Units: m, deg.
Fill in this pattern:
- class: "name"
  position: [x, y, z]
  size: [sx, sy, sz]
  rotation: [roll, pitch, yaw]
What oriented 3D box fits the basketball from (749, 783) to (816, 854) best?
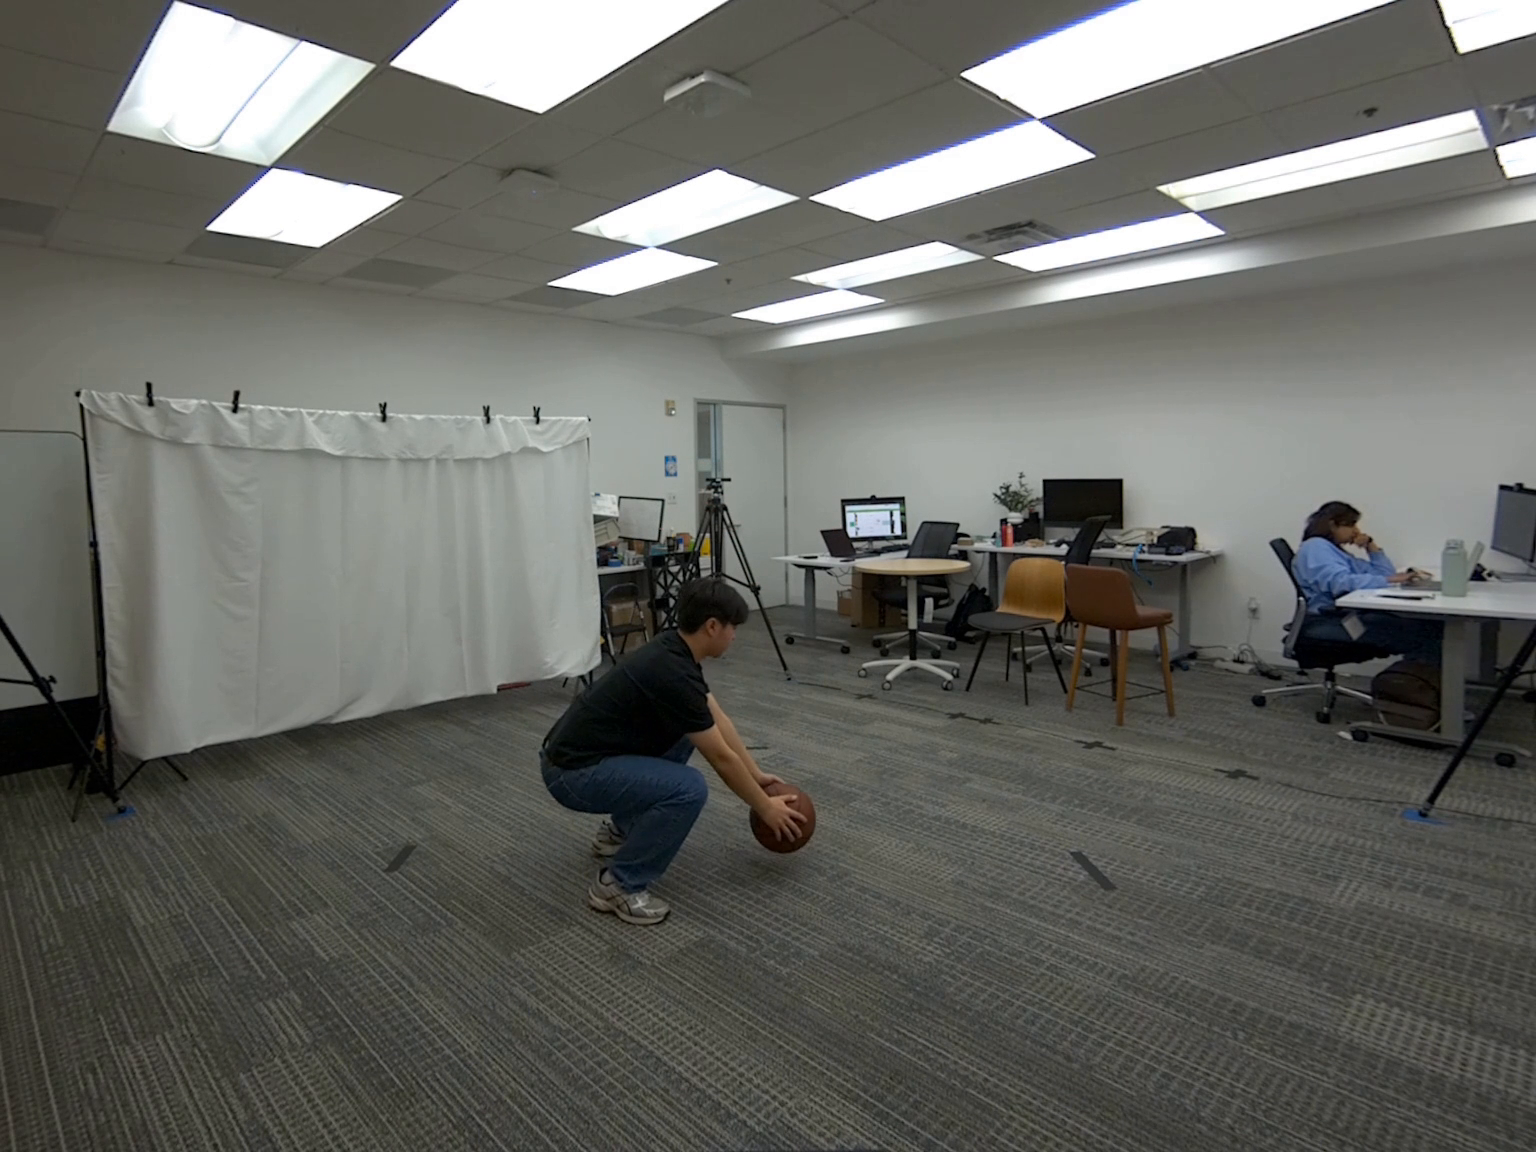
- class: "basketball"
  position: [0.056, 0.852, 3.065]
  size: [0.236, 0.235, 0.237]
  rotation: [-1, 5, -2]
